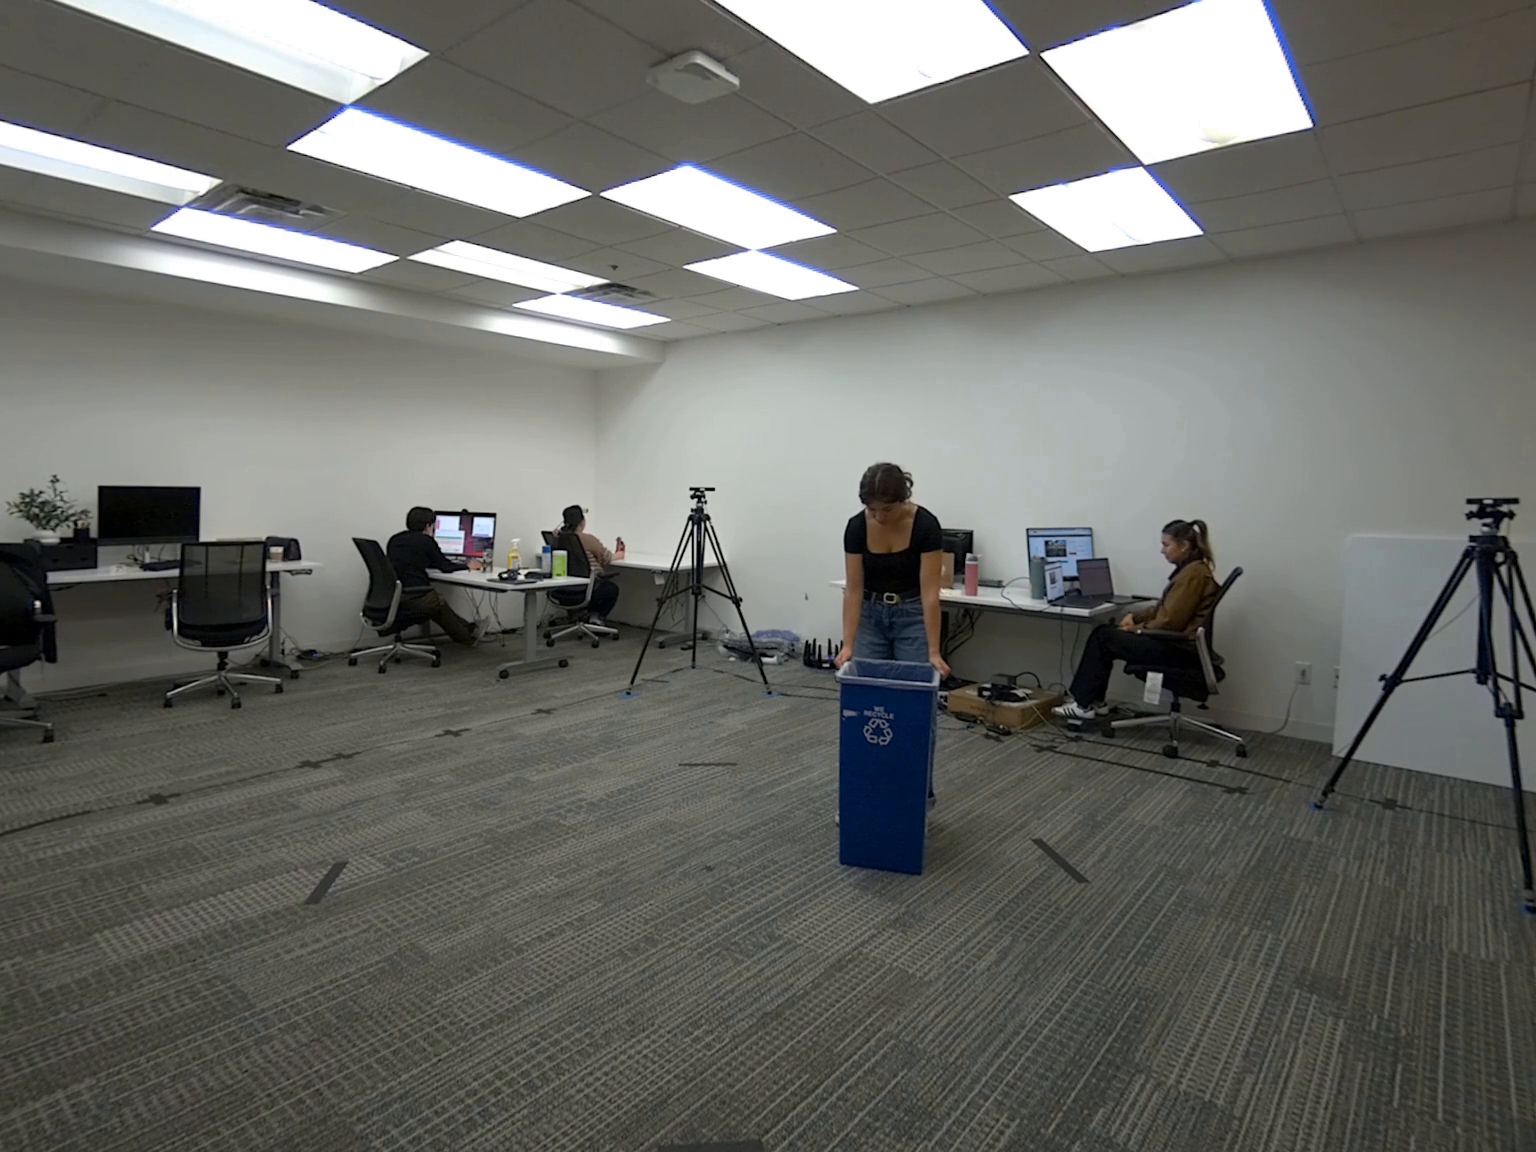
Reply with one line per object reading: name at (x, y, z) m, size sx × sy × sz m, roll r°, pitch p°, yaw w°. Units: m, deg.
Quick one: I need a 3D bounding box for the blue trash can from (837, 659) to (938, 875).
blue trash can at (0.450, 0.708, 3.254) m, size 0.380 × 0.711 × 0.373 m, roll 1°, pitch 4°, yaw 14°
